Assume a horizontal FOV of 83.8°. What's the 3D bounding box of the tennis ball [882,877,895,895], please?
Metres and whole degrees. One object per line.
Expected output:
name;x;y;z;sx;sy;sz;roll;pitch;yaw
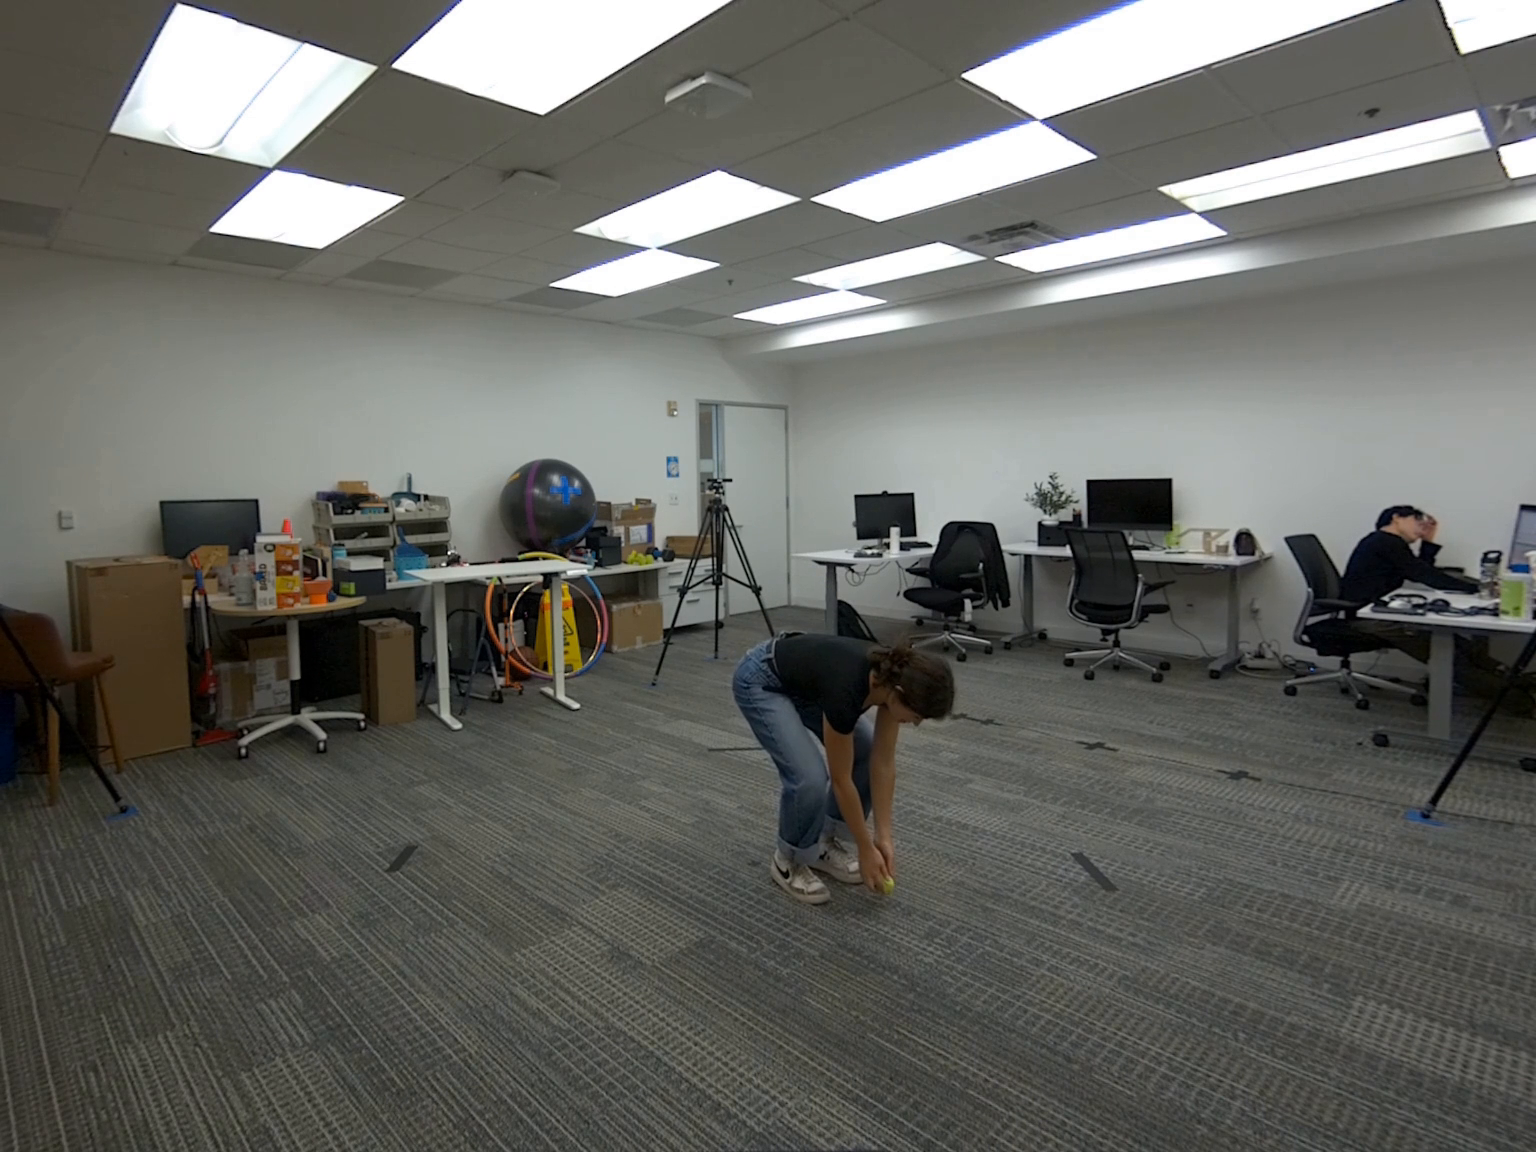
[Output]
tennis ball;0.362;0.991;2.772;0.066;0.066;0.067;-1;5;-2
